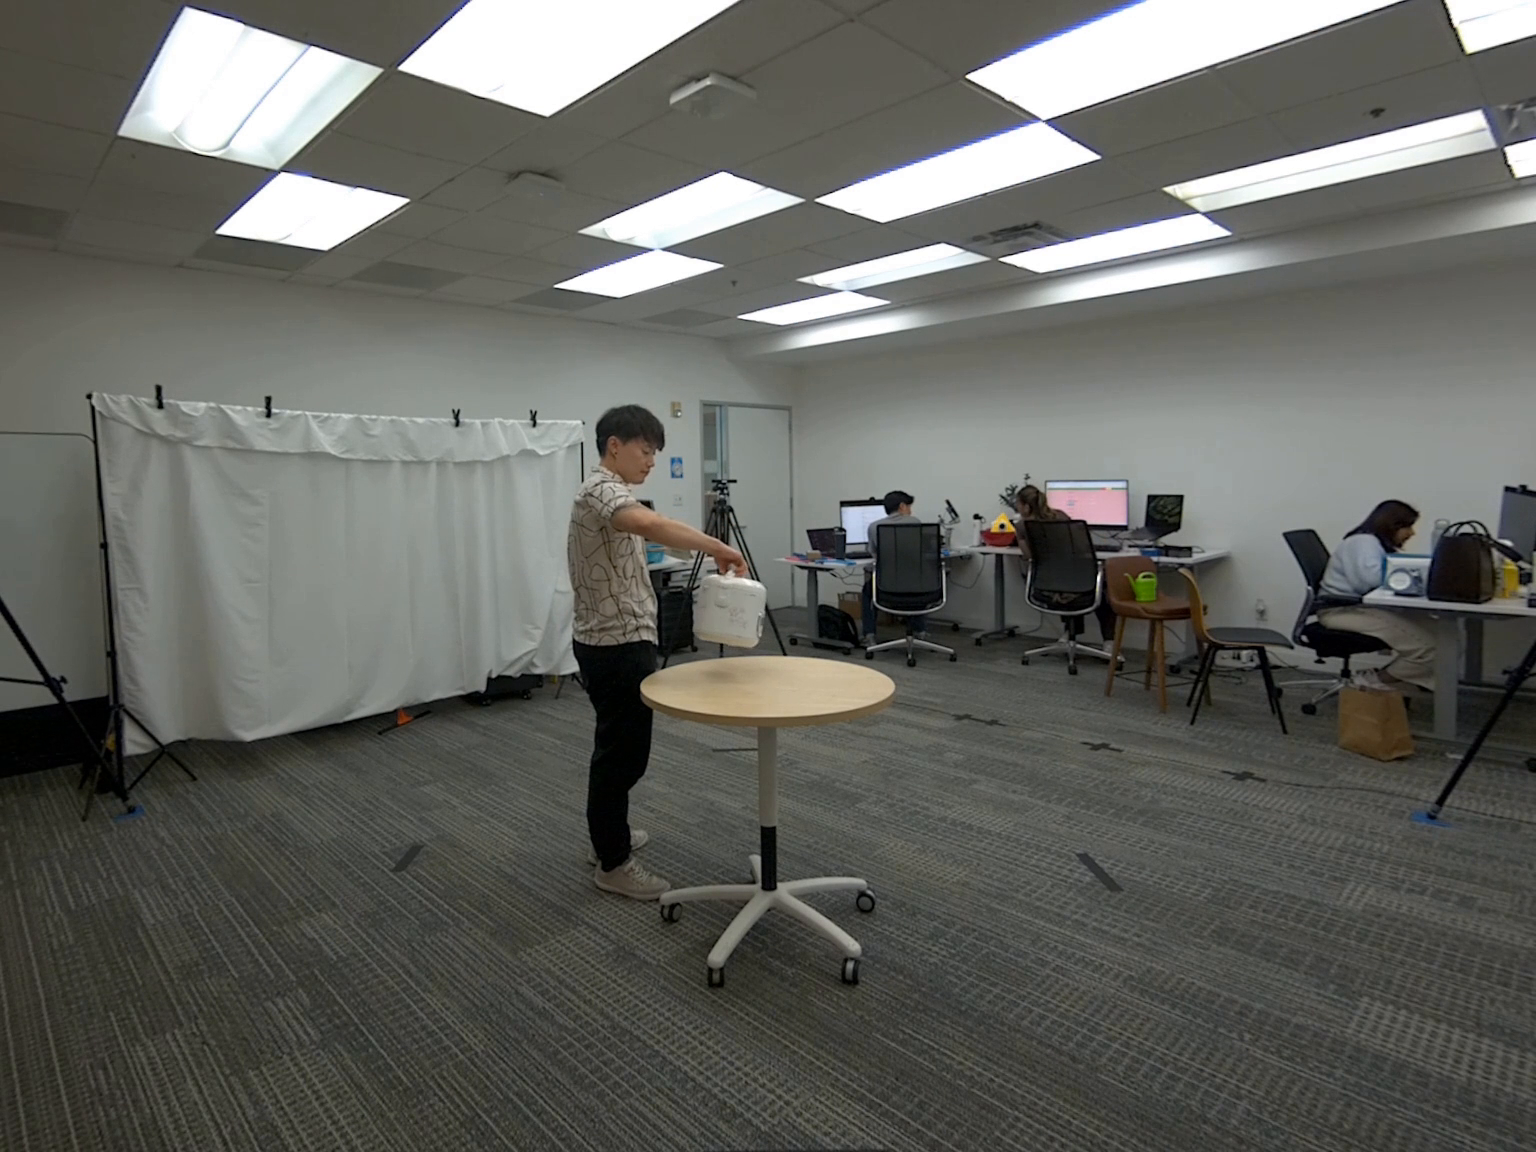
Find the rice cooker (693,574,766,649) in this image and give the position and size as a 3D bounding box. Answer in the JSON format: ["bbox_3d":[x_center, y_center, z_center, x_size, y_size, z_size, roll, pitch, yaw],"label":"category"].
[{"bbox_3d":[-0.114,0.093,2.681,0.221,0.234,0.216,5,-5,17],"label":"rice cooker"}]
